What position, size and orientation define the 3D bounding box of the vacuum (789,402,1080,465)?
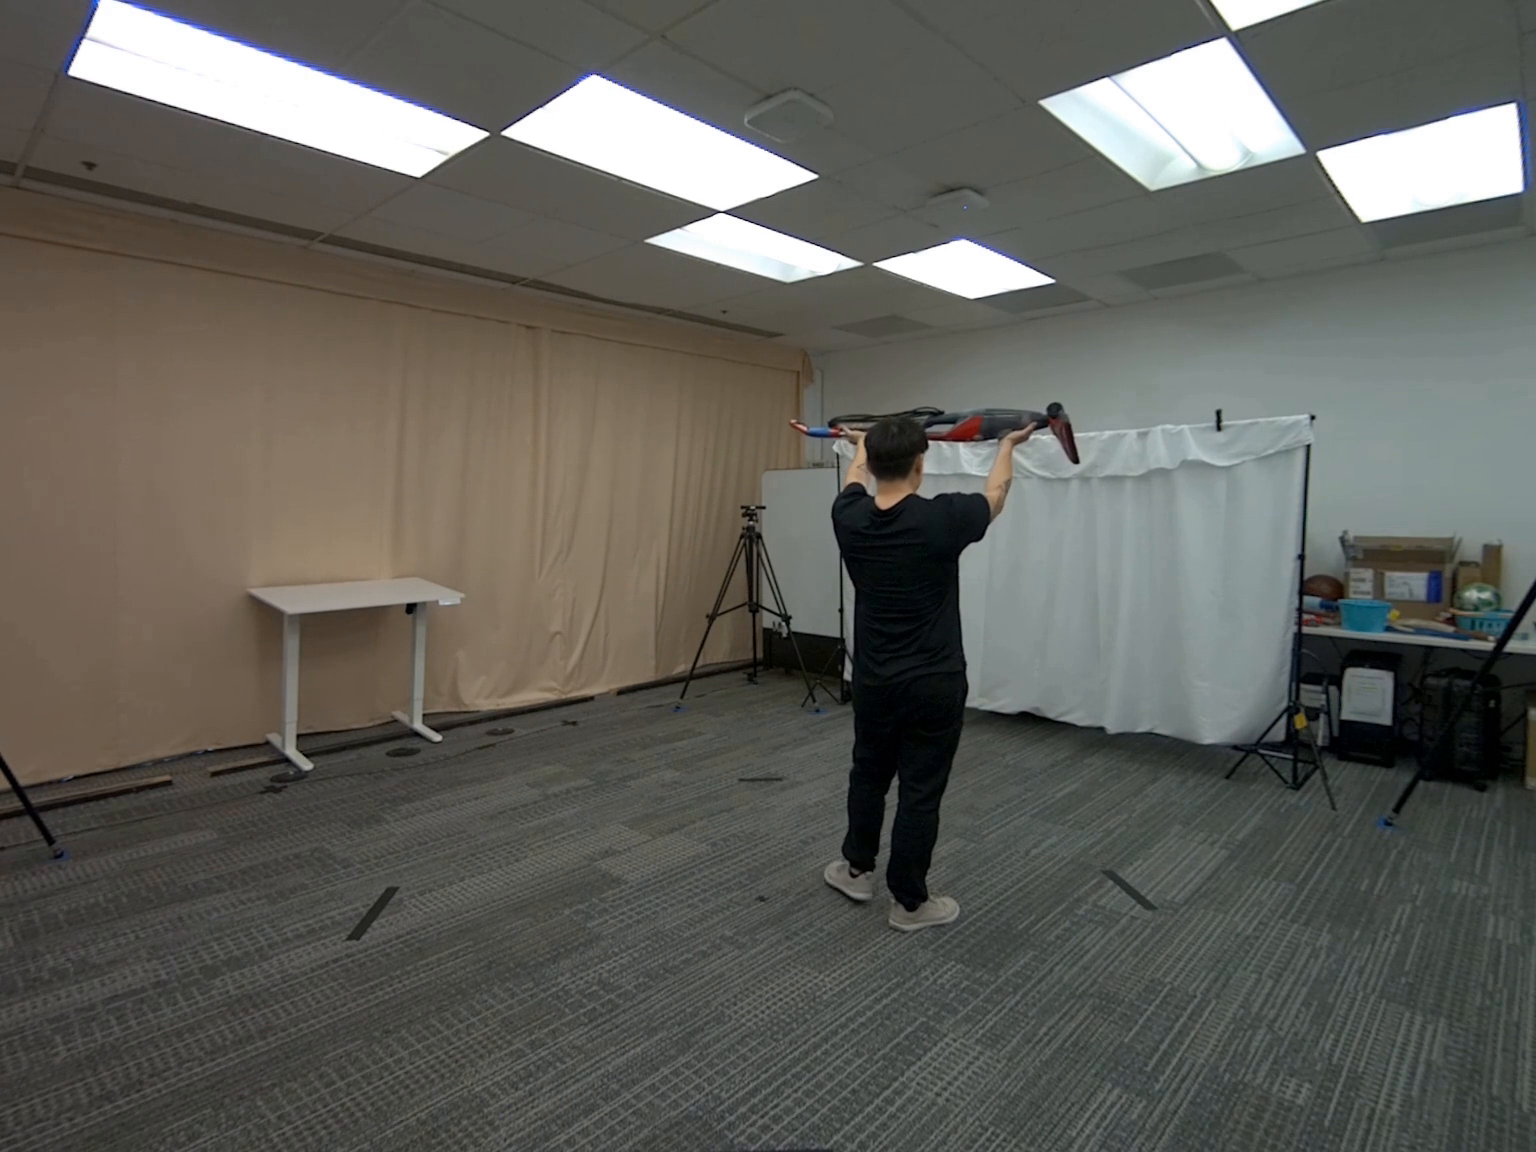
[{"bbox_3d":[0.564,-0.555,3.092,1.083,0.144,0.244,9,-20,32],"label":"vacuum"}]
